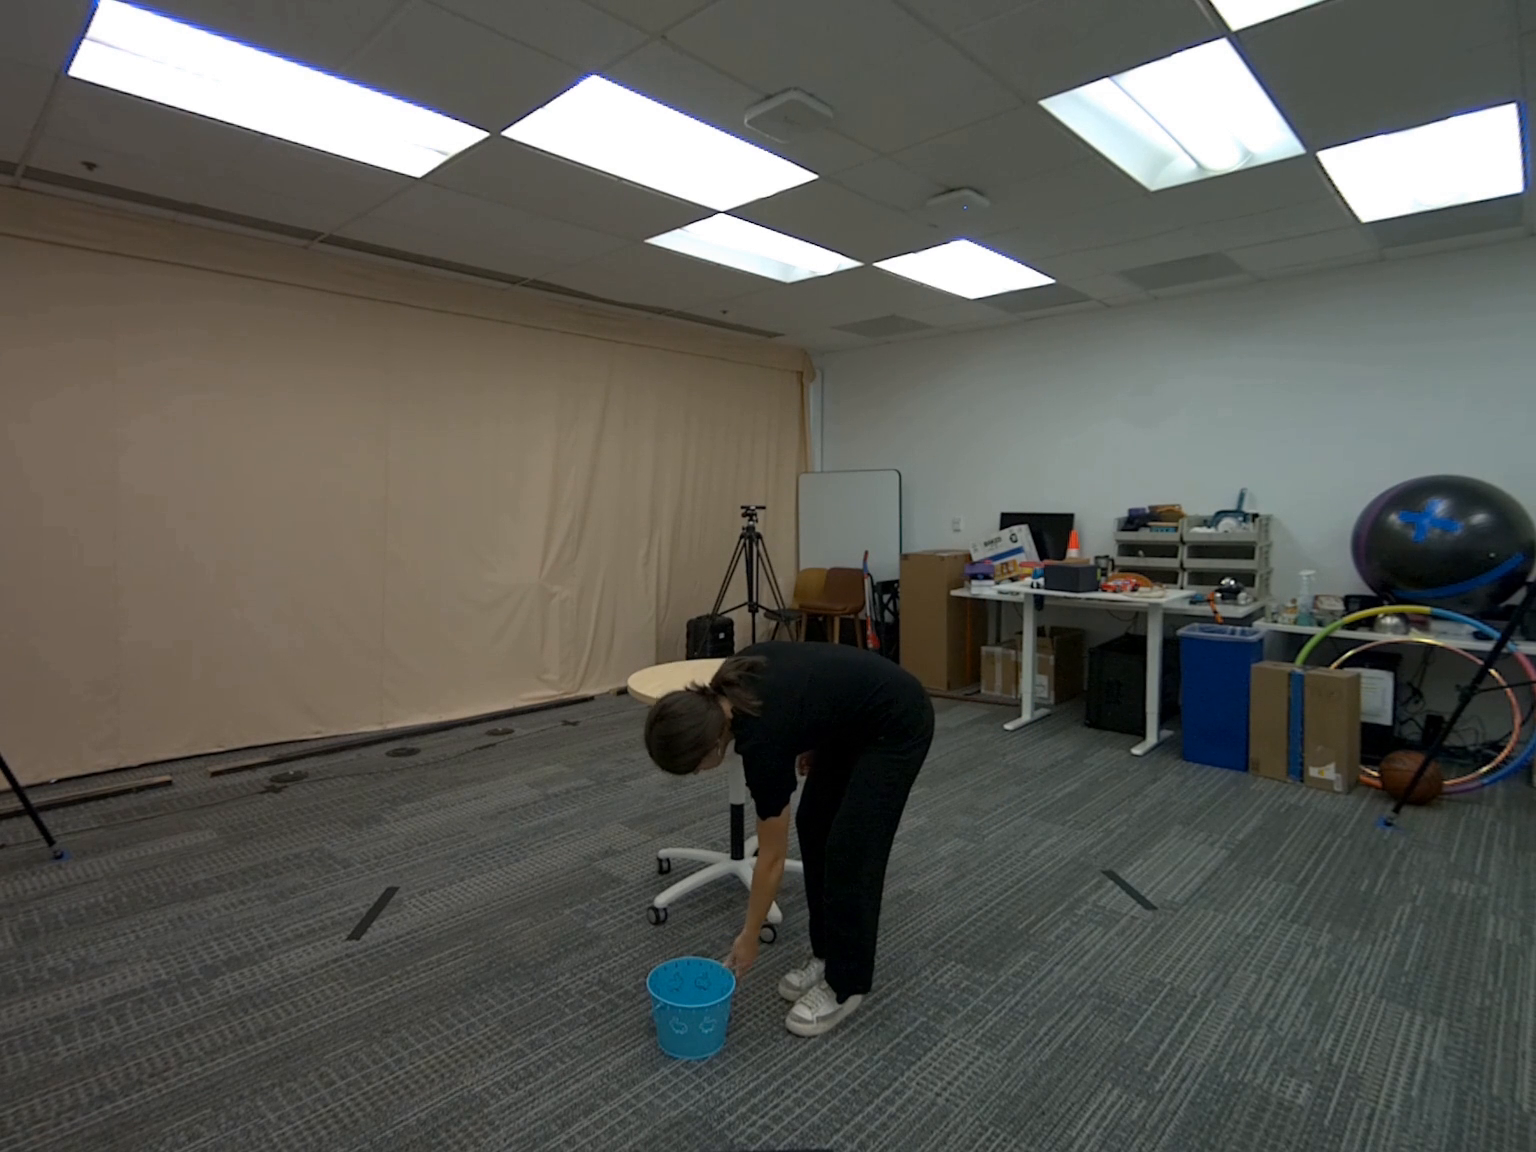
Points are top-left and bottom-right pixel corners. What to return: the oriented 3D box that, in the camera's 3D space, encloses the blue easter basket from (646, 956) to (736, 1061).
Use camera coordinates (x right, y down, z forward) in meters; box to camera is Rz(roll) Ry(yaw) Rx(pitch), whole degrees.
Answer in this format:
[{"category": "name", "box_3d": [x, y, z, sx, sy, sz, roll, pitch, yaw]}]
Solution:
[{"category": "blue easter basket", "box_3d": [-0.192, 1.137, 2.202, 0.243, 0.155, 0.244, 0, 3, -2]}]
